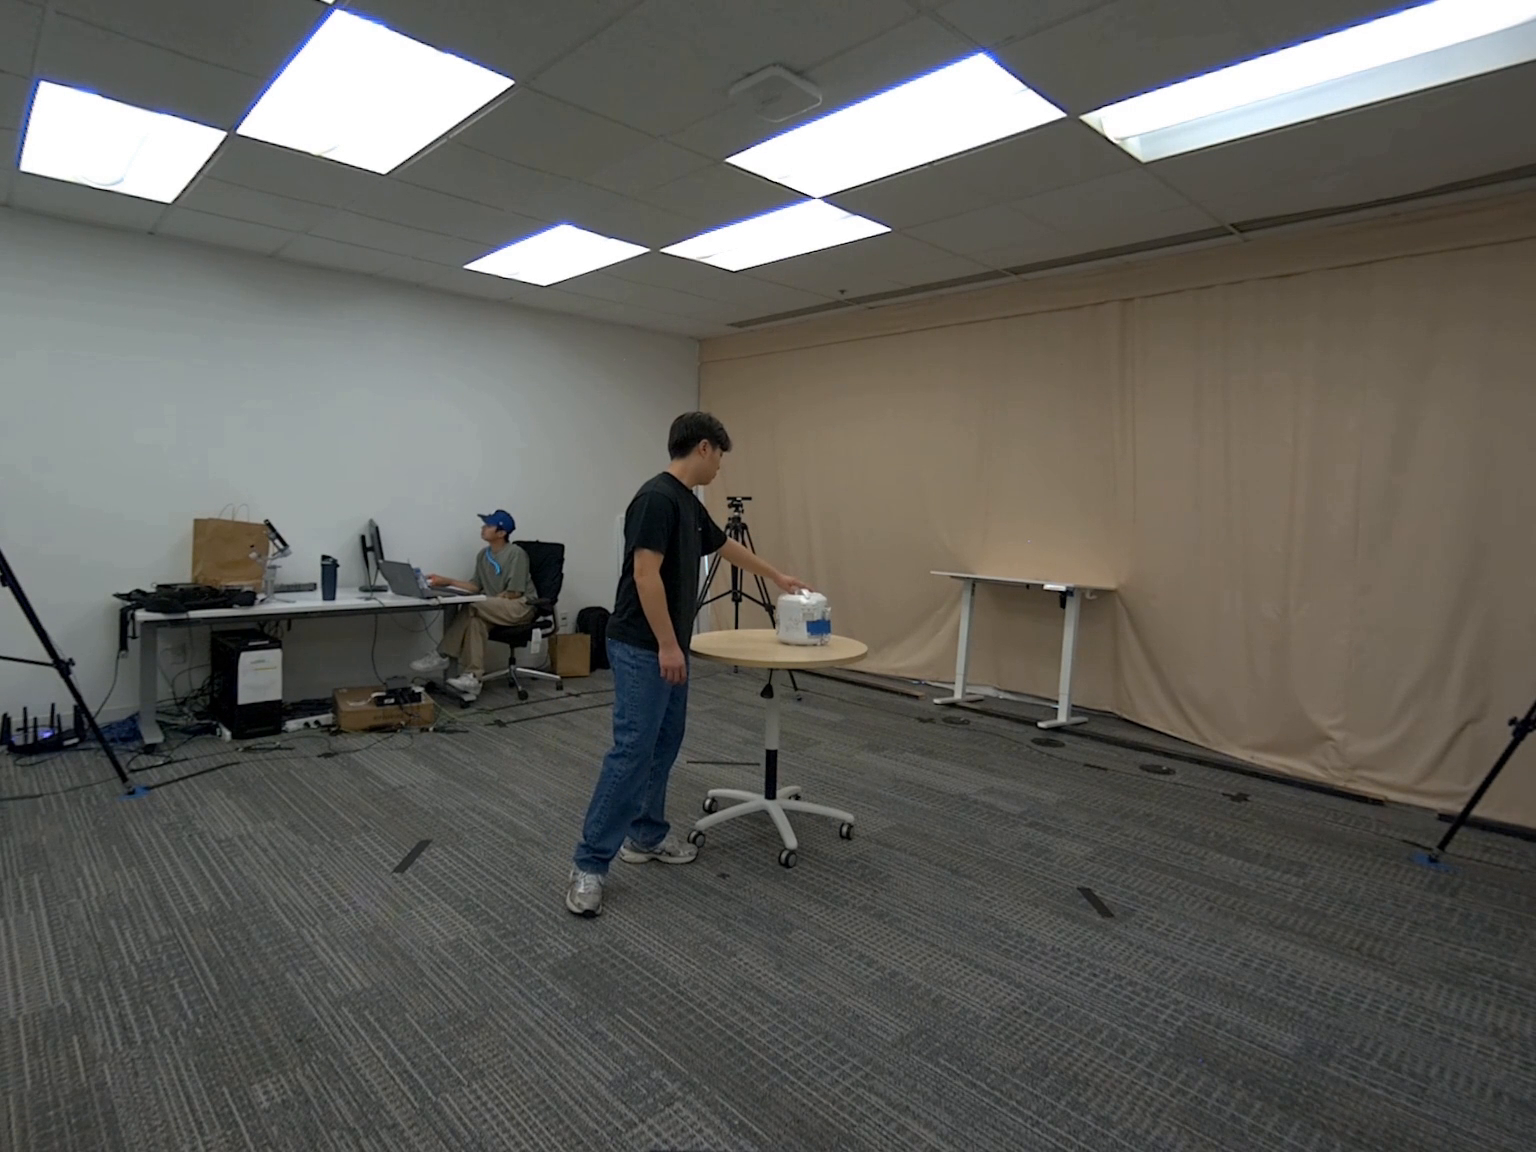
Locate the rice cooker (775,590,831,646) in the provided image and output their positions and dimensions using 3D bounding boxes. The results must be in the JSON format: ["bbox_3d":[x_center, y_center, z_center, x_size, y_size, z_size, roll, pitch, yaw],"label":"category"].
[{"bbox_3d":[0.140,0.165,3.537,0.216,0.232,0.223,0,3,-10],"label":"rice cooker"}]
